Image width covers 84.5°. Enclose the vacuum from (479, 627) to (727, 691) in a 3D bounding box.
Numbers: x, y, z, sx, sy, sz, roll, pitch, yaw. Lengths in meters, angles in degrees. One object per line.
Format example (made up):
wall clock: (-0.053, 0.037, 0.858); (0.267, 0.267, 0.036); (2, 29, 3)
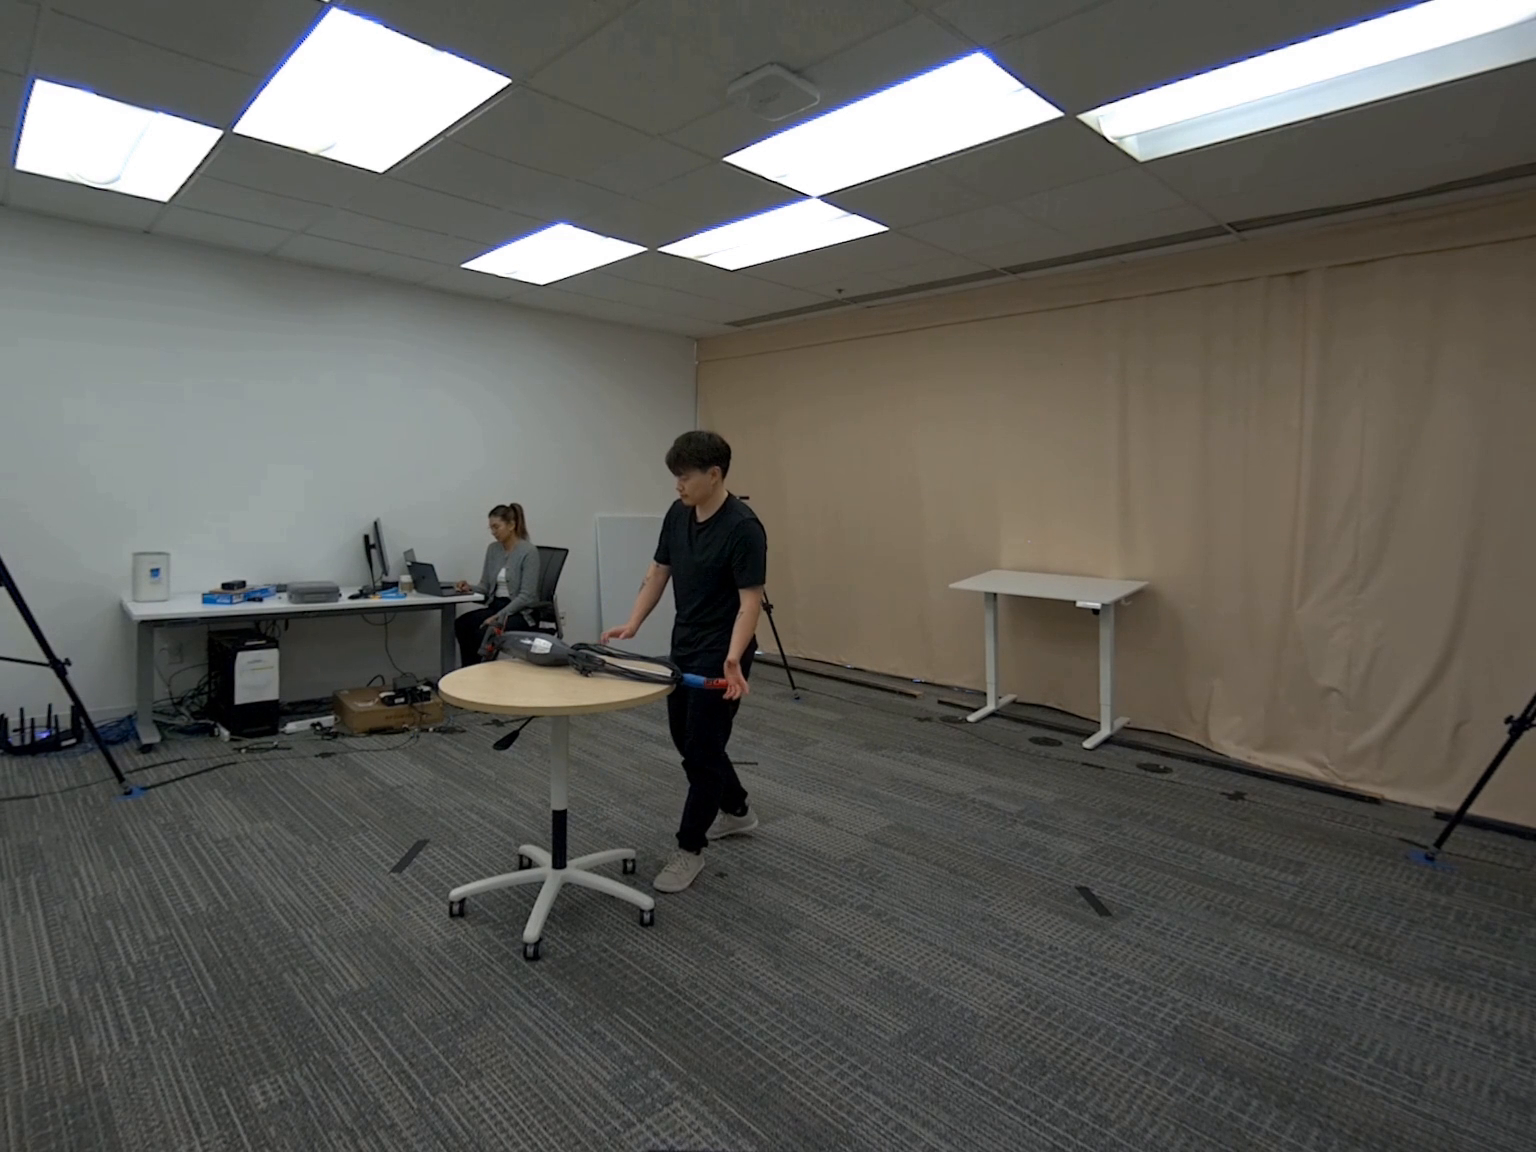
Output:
vacuum: (-0.600, 0.302, 2.882); (1.073, 0.255, 0.139); (6, -26, 30)
